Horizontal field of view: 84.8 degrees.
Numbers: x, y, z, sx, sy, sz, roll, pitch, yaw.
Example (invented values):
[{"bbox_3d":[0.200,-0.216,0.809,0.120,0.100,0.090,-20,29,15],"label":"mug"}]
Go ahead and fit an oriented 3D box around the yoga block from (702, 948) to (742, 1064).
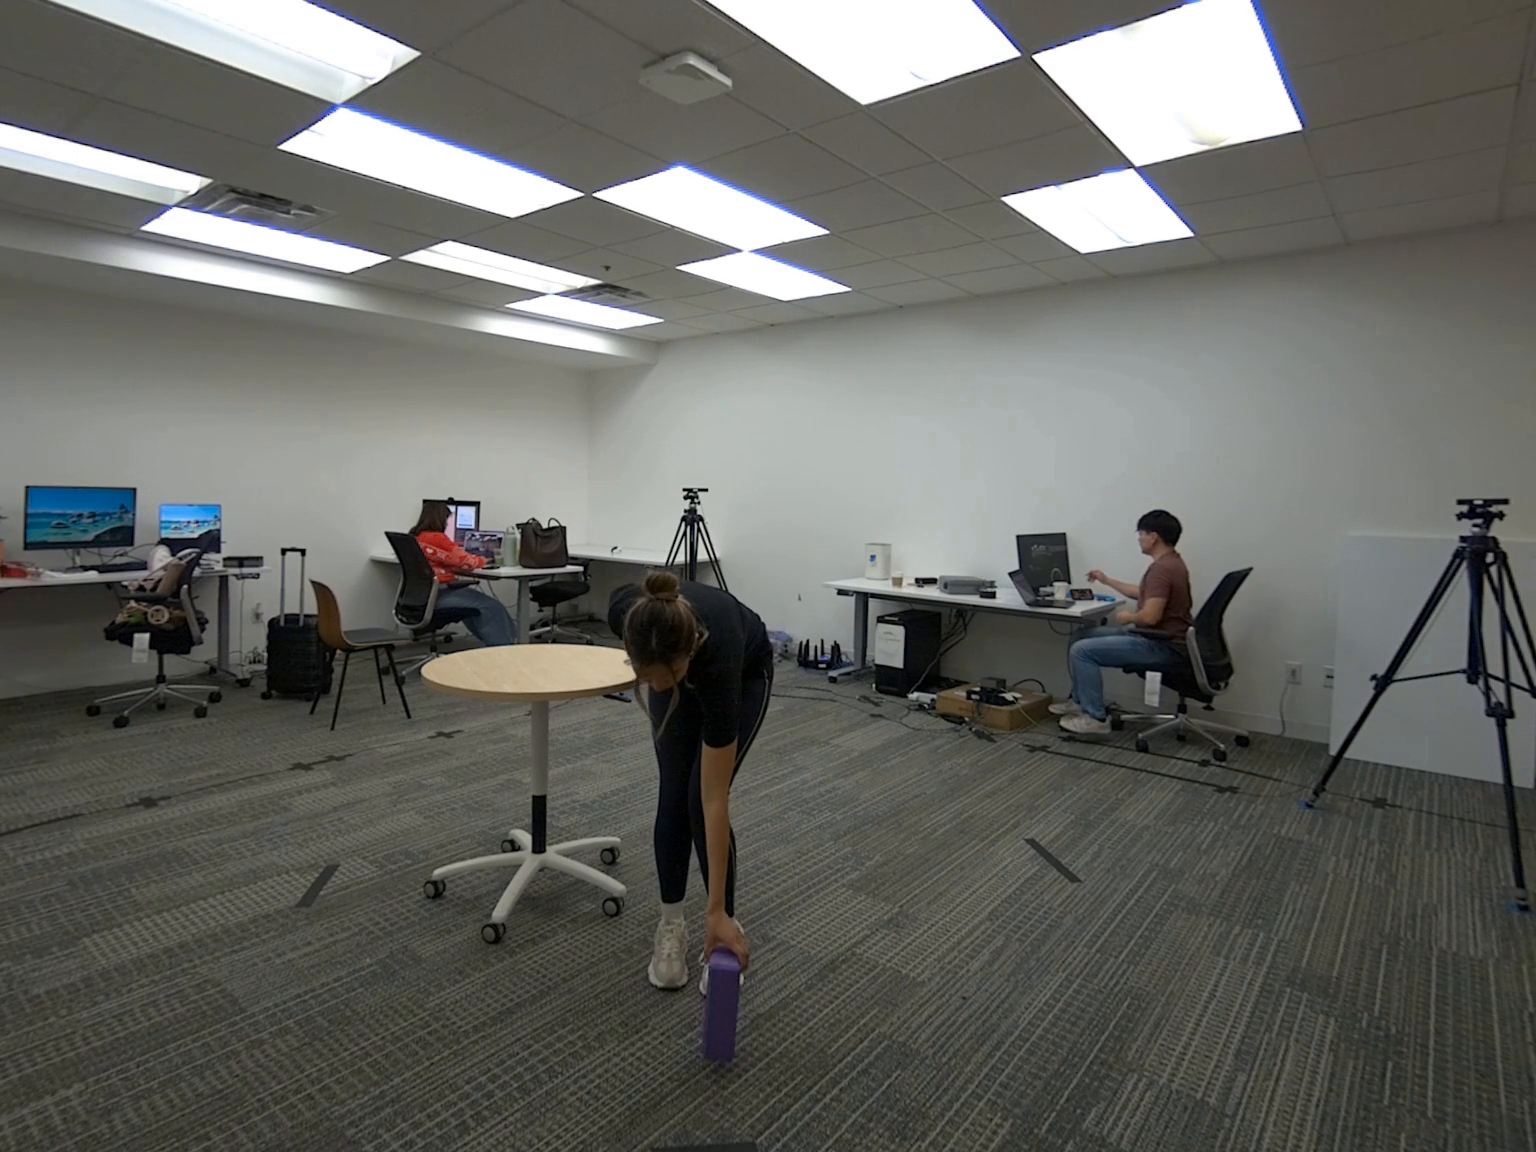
[{"bbox_3d":[-0.116,1.010,2.058,0.076,0.229,0.149,5,2,-1],"label":"yoga block"}]
